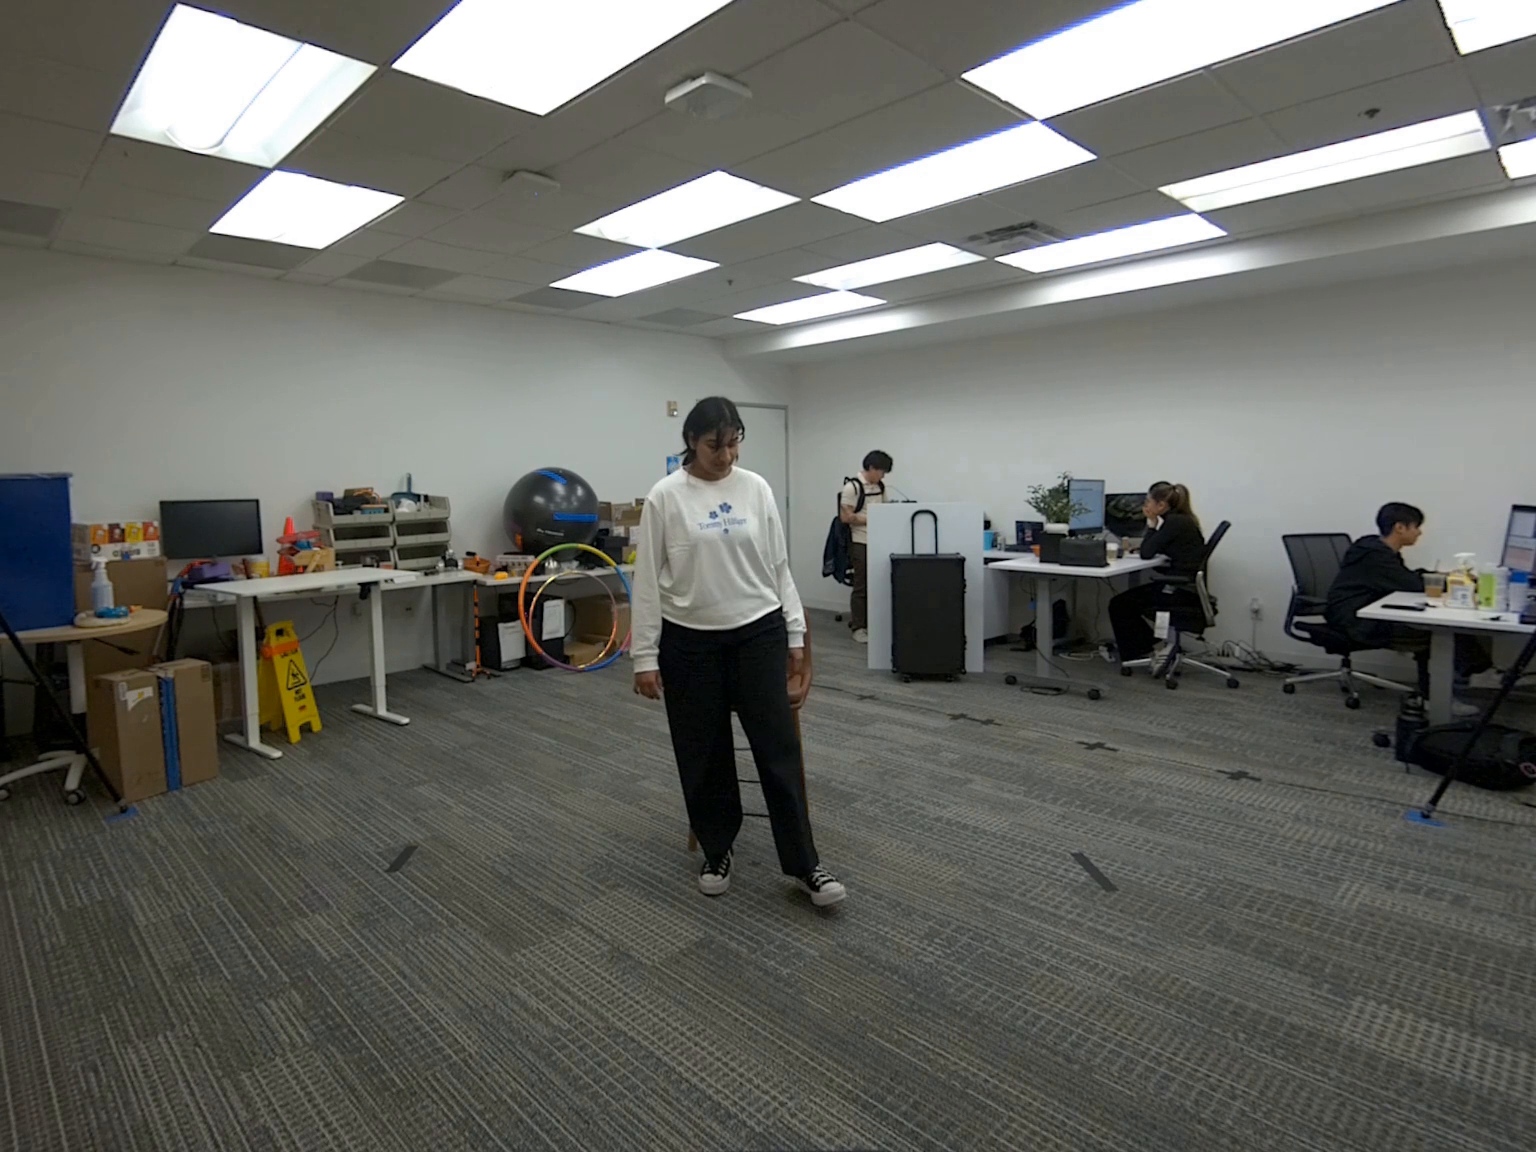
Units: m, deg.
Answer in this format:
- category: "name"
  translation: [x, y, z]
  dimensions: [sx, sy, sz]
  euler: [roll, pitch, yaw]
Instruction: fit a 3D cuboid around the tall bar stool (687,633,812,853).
- category: "tall bar stool"
  translation: [-0.058, 0.581, 3.372]
  dimensions: [0.463, 0.888, 0.462]
  euler: [0, 2, 14]
